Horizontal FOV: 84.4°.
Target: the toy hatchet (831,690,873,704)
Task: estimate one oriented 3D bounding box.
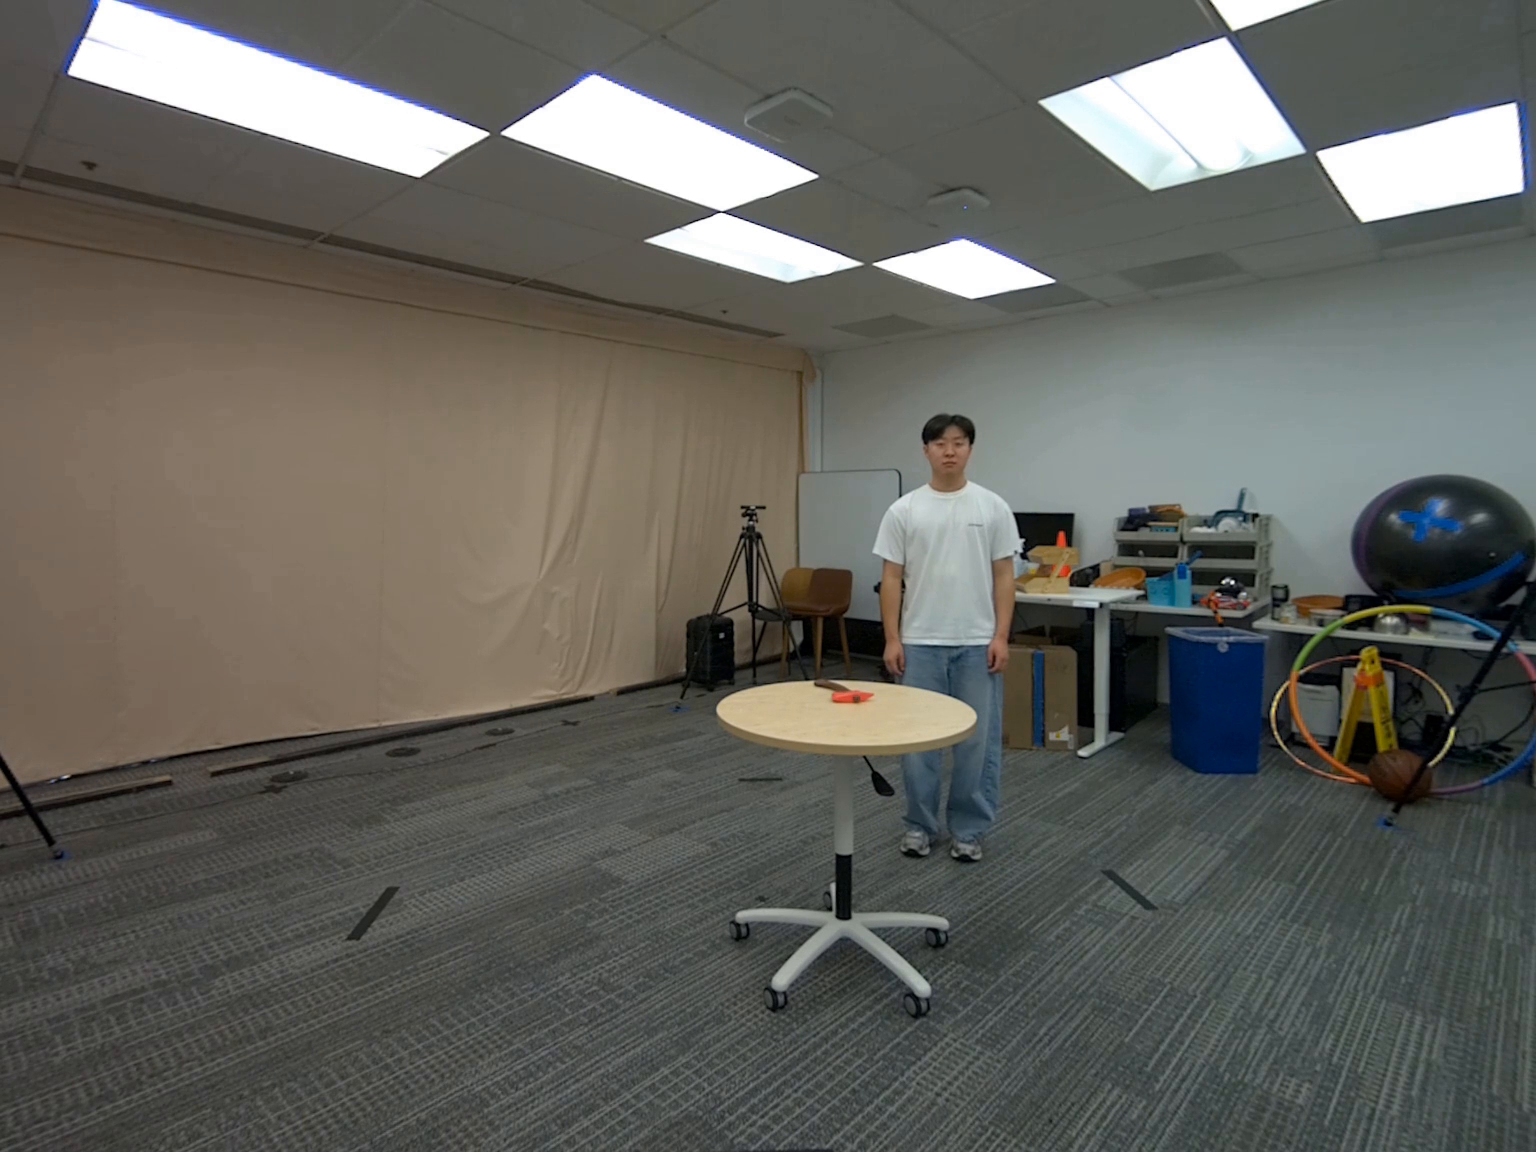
[{"bbox_3d":[0.217,0.374,2.697,0.128,0.029,0.278,-8,7,-31],"label":"toy hatchet"}]
